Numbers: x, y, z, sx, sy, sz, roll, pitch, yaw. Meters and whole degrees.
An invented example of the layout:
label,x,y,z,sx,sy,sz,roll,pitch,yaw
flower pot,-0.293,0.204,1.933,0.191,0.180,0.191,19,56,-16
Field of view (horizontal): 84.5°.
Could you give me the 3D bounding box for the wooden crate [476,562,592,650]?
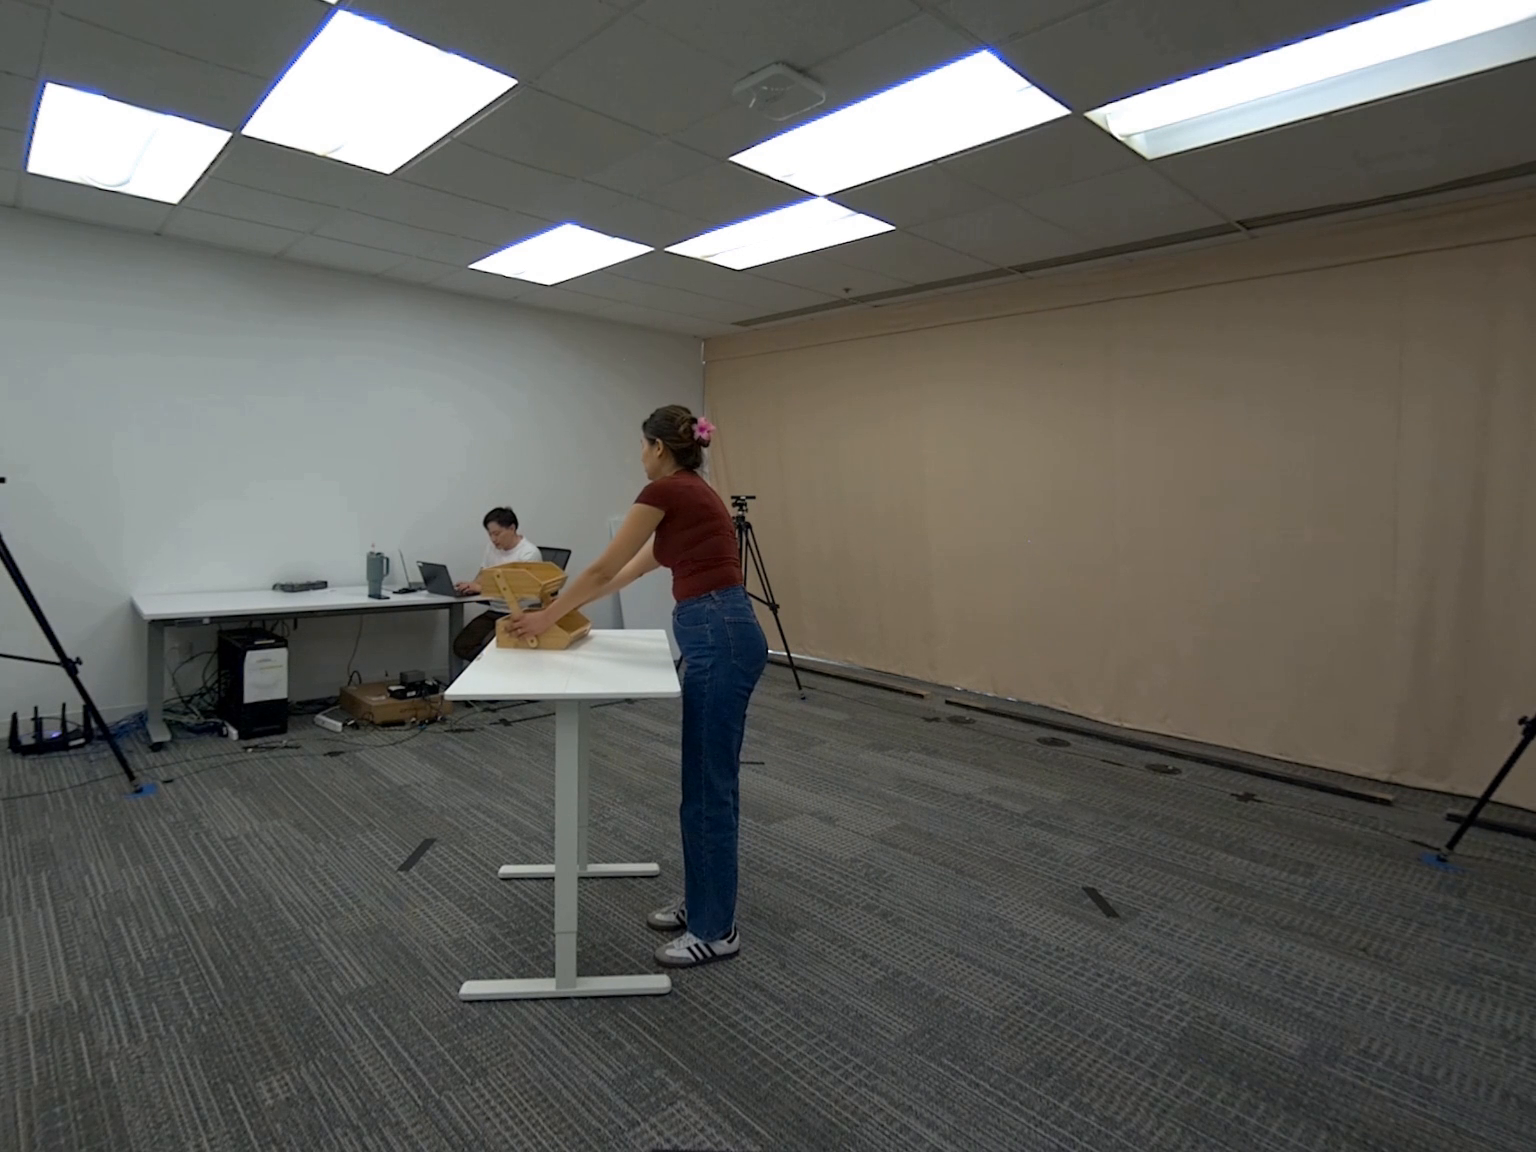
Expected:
label,x,y,z,sx,sy,sz,roll,pitch,yaw
wooden crate,-0.785,0.093,2.893,0.303,0.272,0.324,1,5,3
